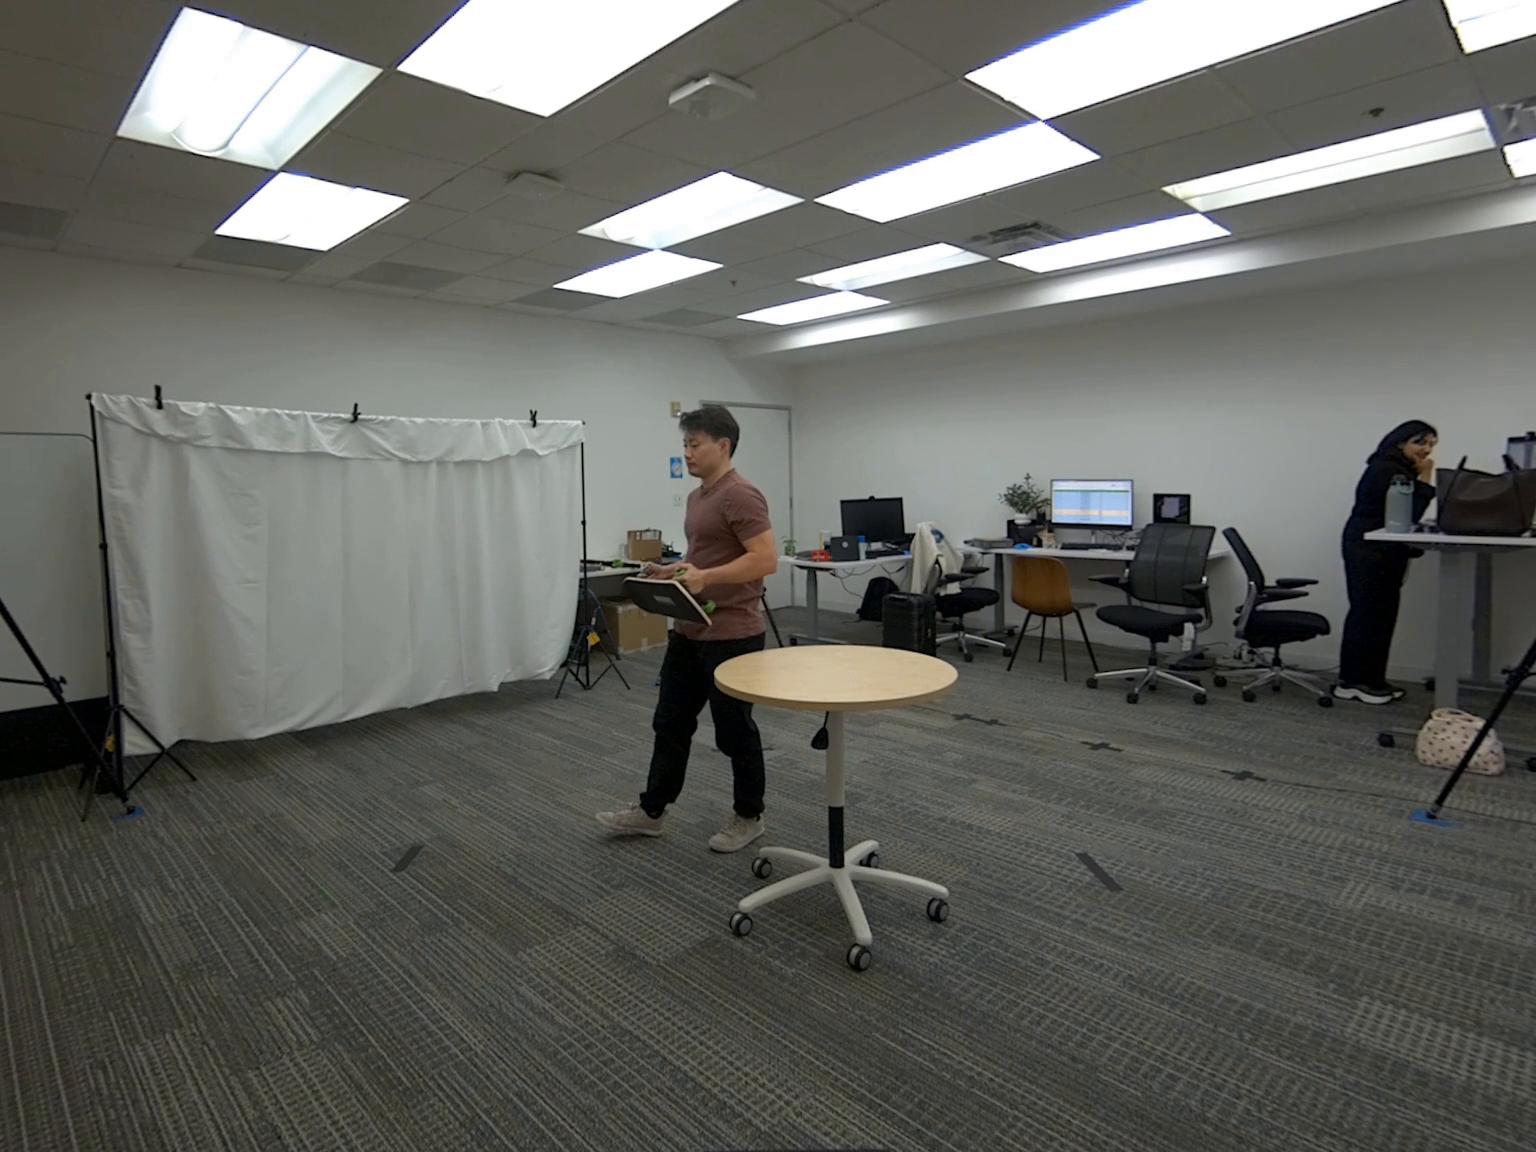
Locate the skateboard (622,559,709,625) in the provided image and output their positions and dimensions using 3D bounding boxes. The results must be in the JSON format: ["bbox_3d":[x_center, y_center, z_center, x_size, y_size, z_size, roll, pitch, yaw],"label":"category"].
[{"bbox_3d":[-0.350,0.065,3.175,0.110,0.190,0.802,-39,17,-16],"label":"skateboard"}]
